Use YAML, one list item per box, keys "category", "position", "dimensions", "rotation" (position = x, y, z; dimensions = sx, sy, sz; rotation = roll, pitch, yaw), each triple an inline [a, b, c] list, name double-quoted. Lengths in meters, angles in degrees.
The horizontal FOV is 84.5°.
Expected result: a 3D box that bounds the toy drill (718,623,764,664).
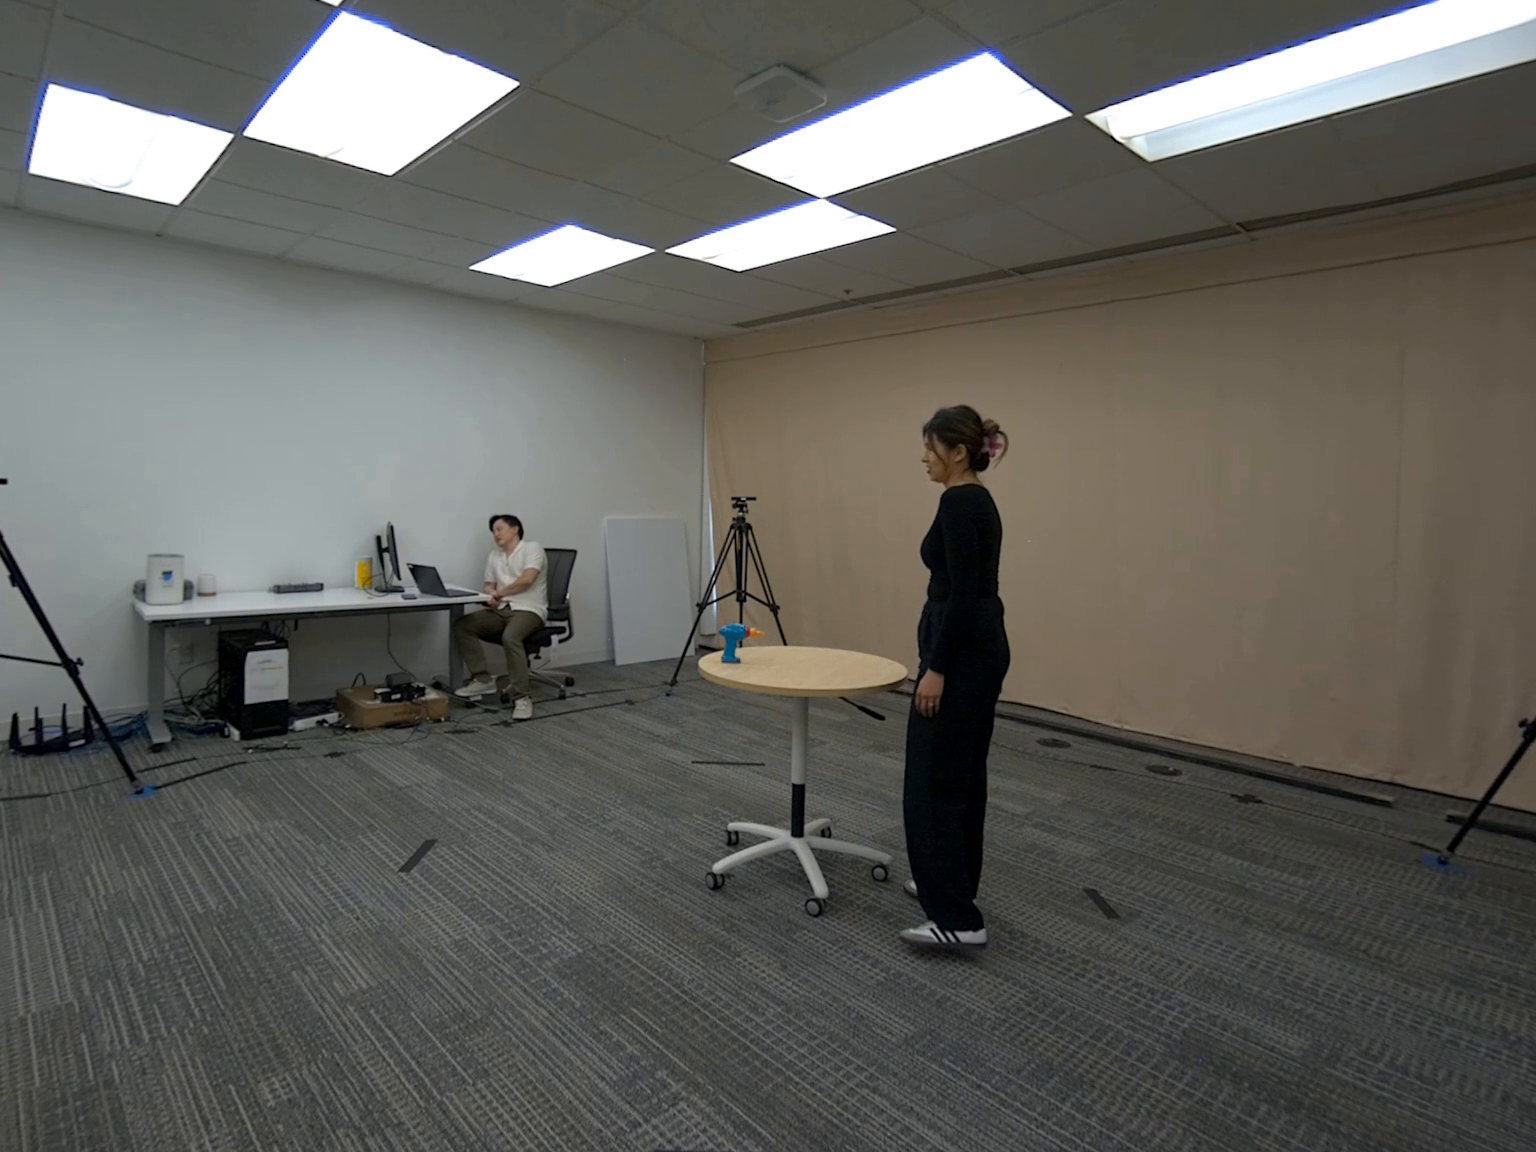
- category: "toy drill"
  position: [-0.095, 0.250, 3.120]
  dimensions: [0.170, 0.146, 0.061]
  rotation: [3, 3, 0]
